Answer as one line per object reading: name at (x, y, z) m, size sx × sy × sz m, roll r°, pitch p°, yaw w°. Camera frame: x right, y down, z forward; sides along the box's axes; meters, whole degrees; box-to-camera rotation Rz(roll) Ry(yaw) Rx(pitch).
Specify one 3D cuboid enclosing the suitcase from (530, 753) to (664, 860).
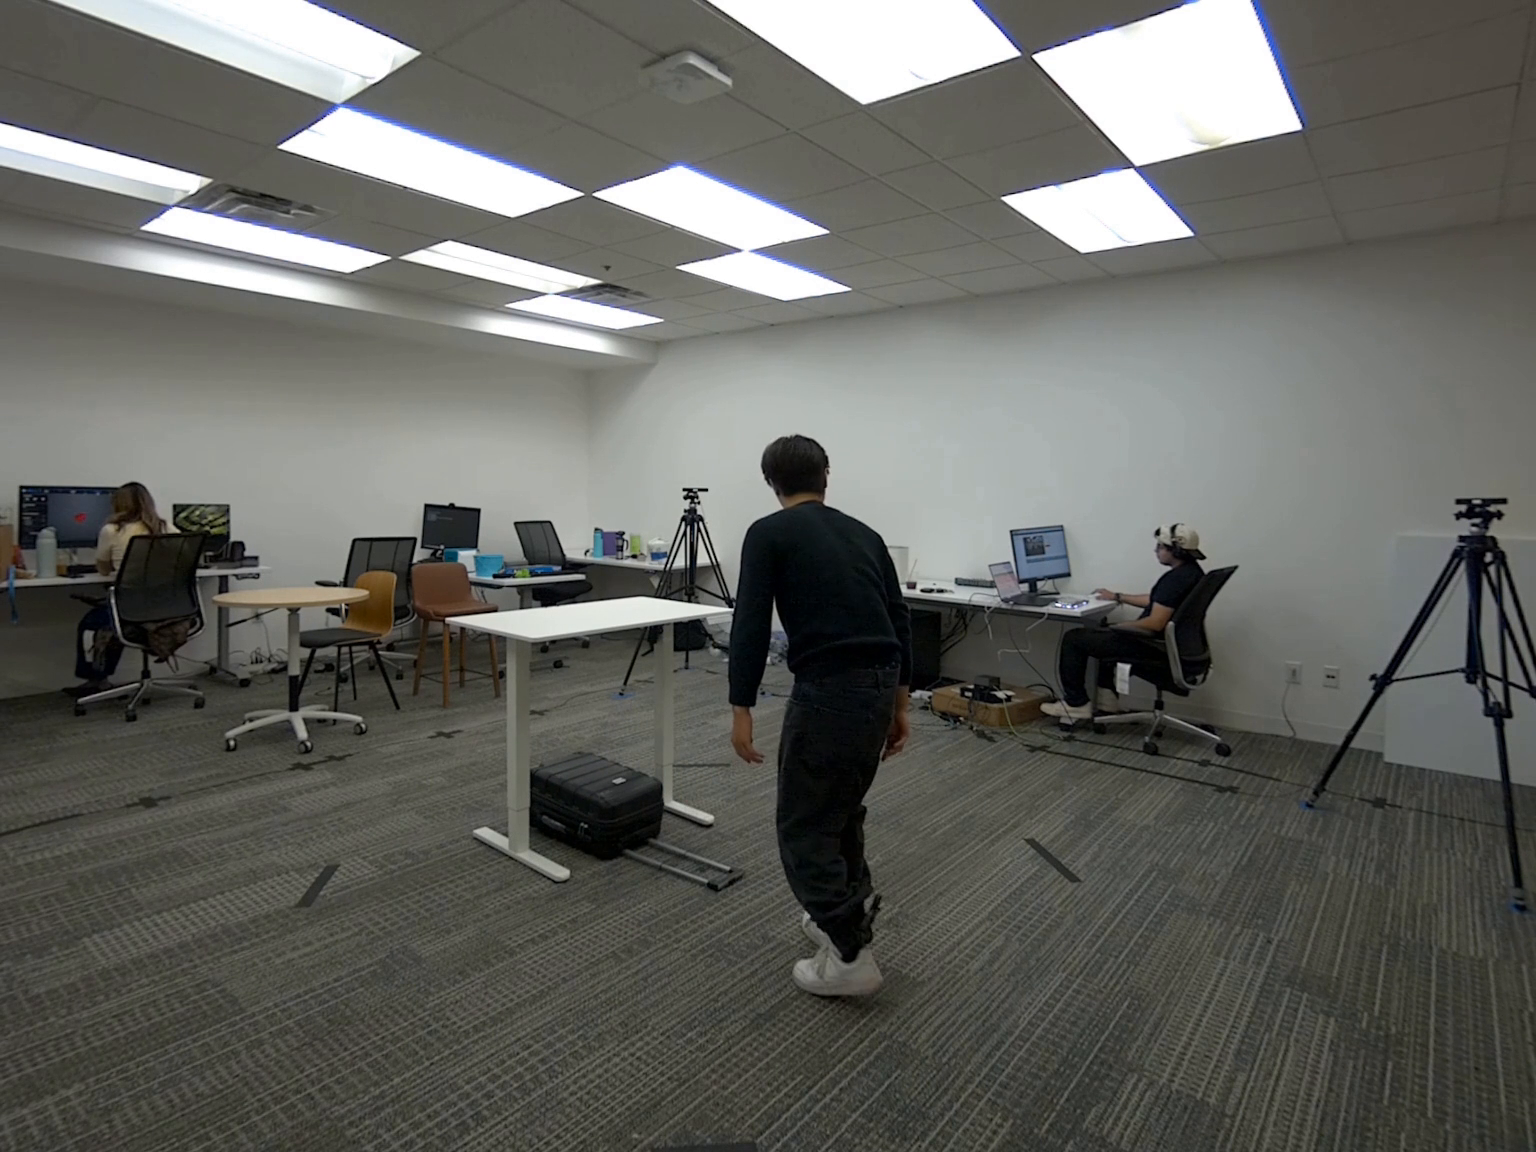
suitcase at (-0.546, 0.921, 3.284) m, size 1.011 × 0.256 × 0.373 m, roll 5°, pitch 6°, yaw 37°
